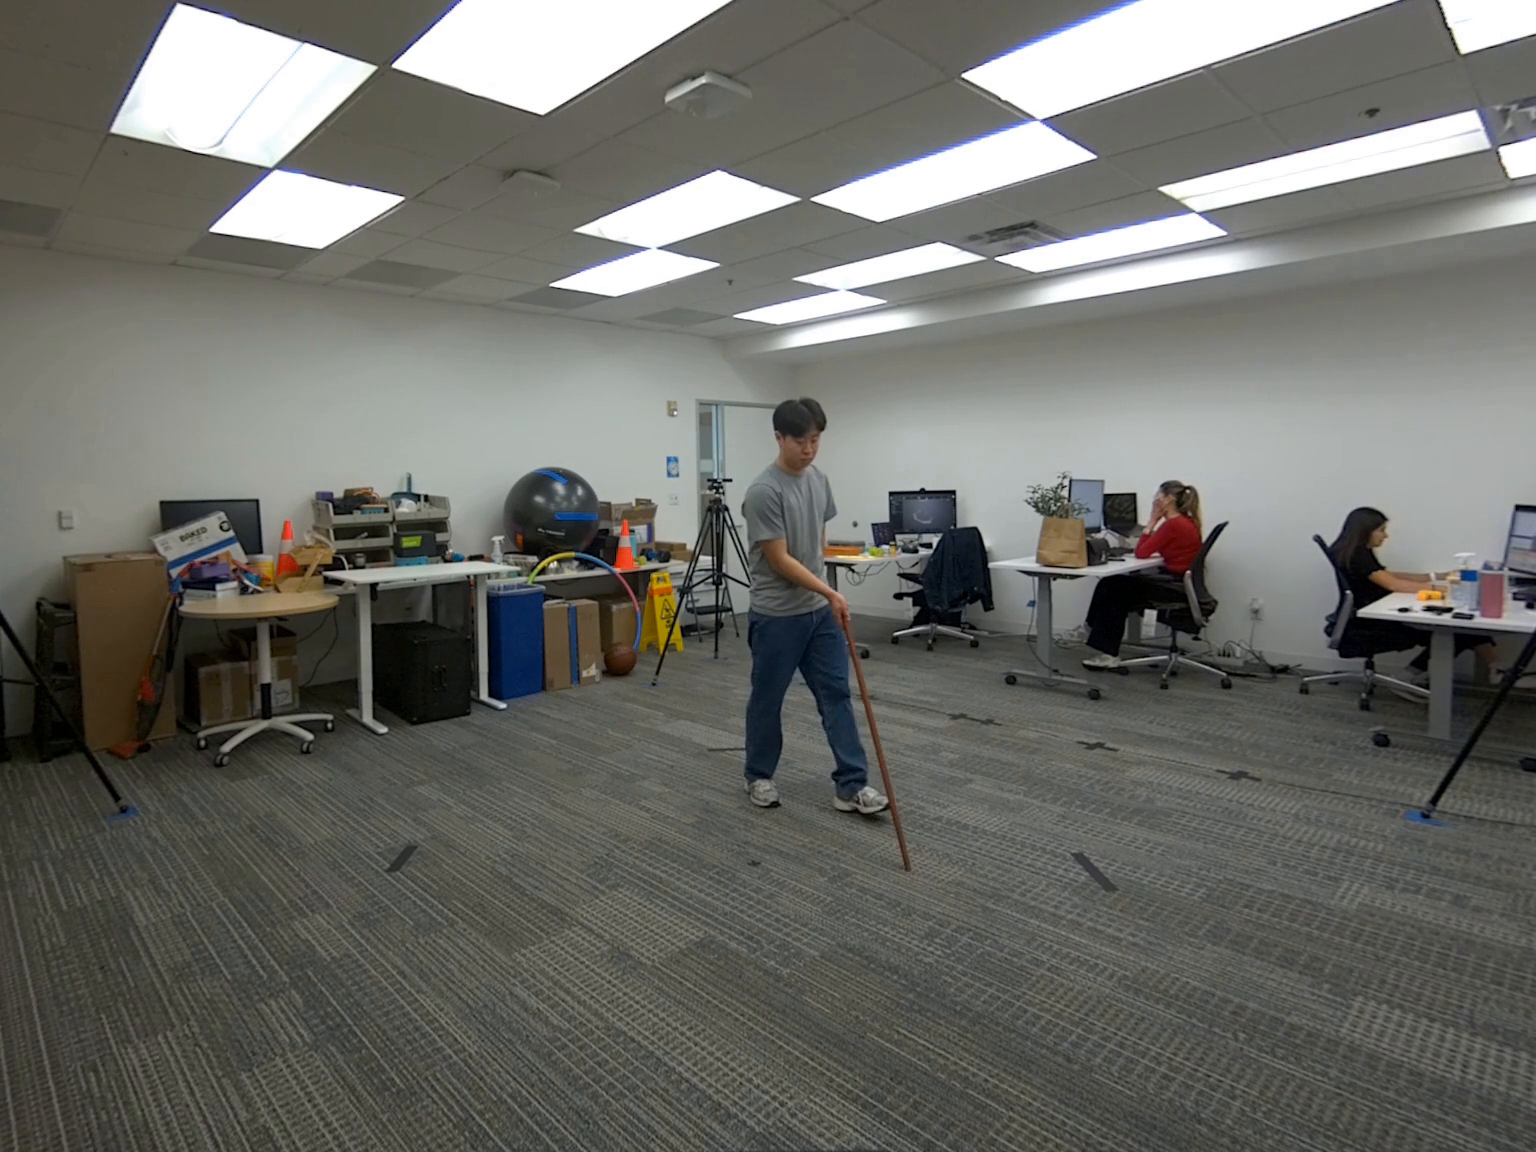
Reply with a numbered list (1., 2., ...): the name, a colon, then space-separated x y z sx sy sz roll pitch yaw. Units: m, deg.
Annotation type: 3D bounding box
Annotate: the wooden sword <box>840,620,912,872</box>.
1. wooden sword: 0.402 0.594 3.236 0.024 1.050 0.051 -6 -25 -17
